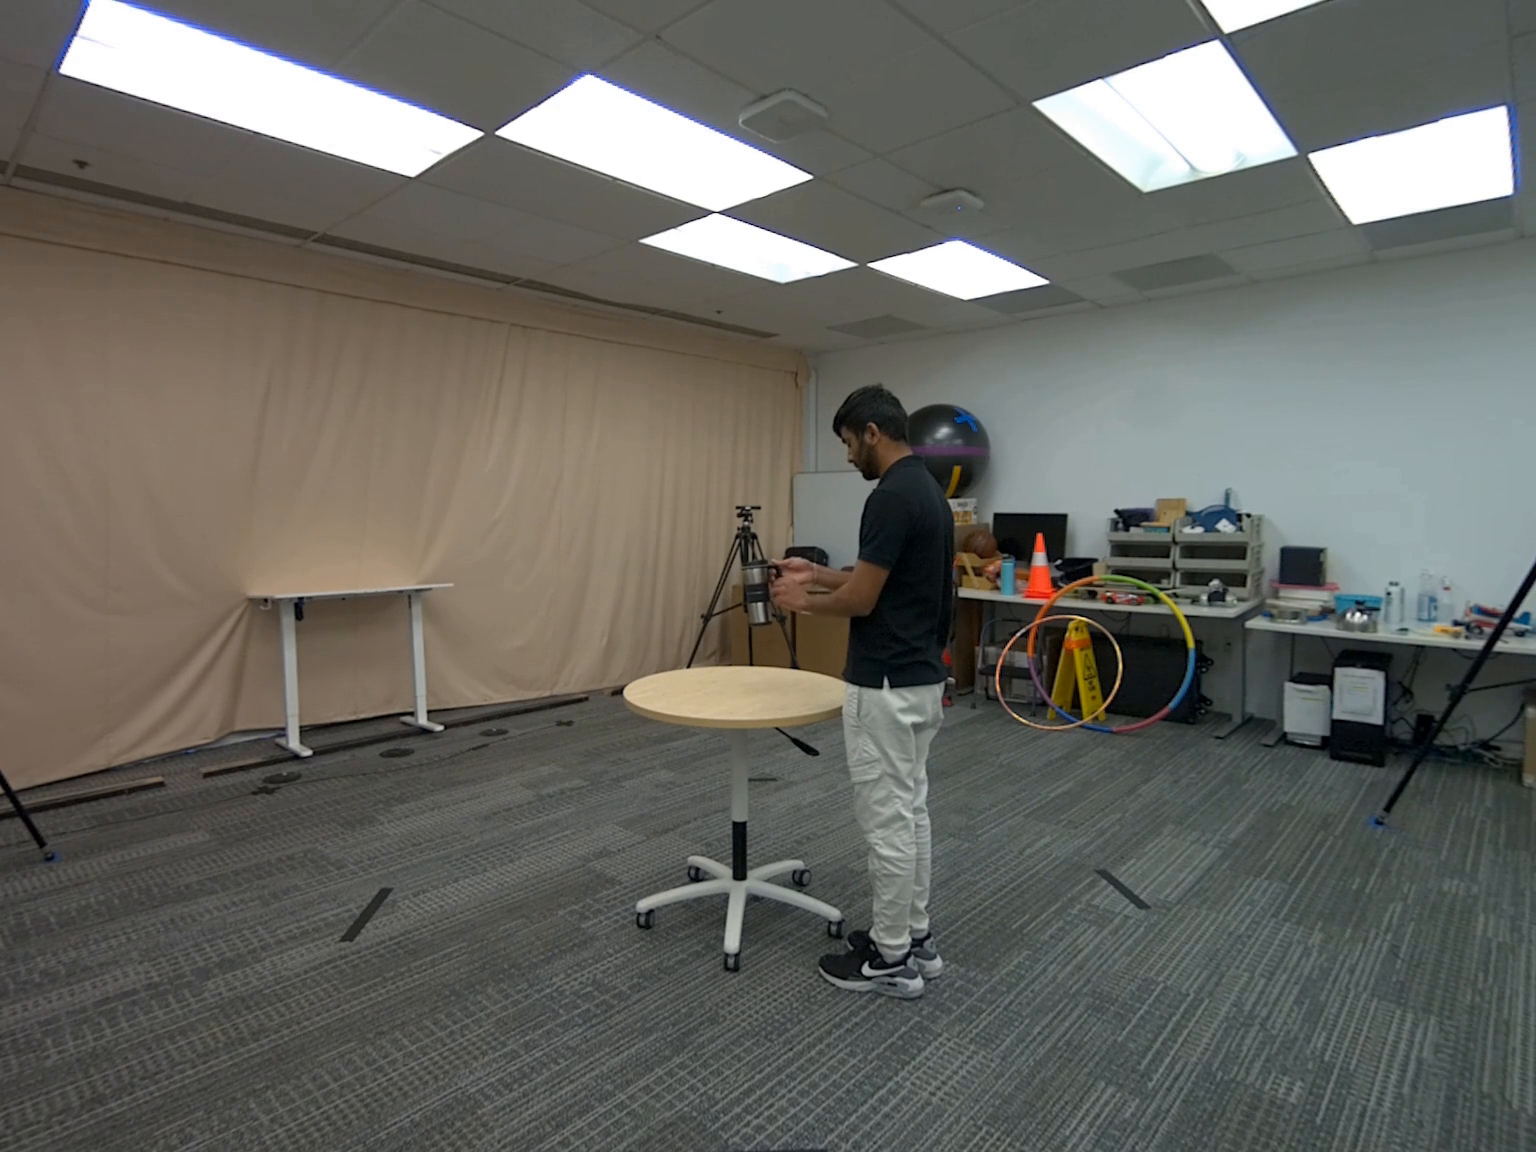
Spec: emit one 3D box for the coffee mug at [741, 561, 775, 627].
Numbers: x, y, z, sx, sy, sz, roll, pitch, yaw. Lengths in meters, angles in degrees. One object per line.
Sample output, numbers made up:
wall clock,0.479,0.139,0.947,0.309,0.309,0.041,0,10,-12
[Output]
coffee mug,-0.011,0.057,2.610,0.085,0.204,0.125,-3,-6,-44
